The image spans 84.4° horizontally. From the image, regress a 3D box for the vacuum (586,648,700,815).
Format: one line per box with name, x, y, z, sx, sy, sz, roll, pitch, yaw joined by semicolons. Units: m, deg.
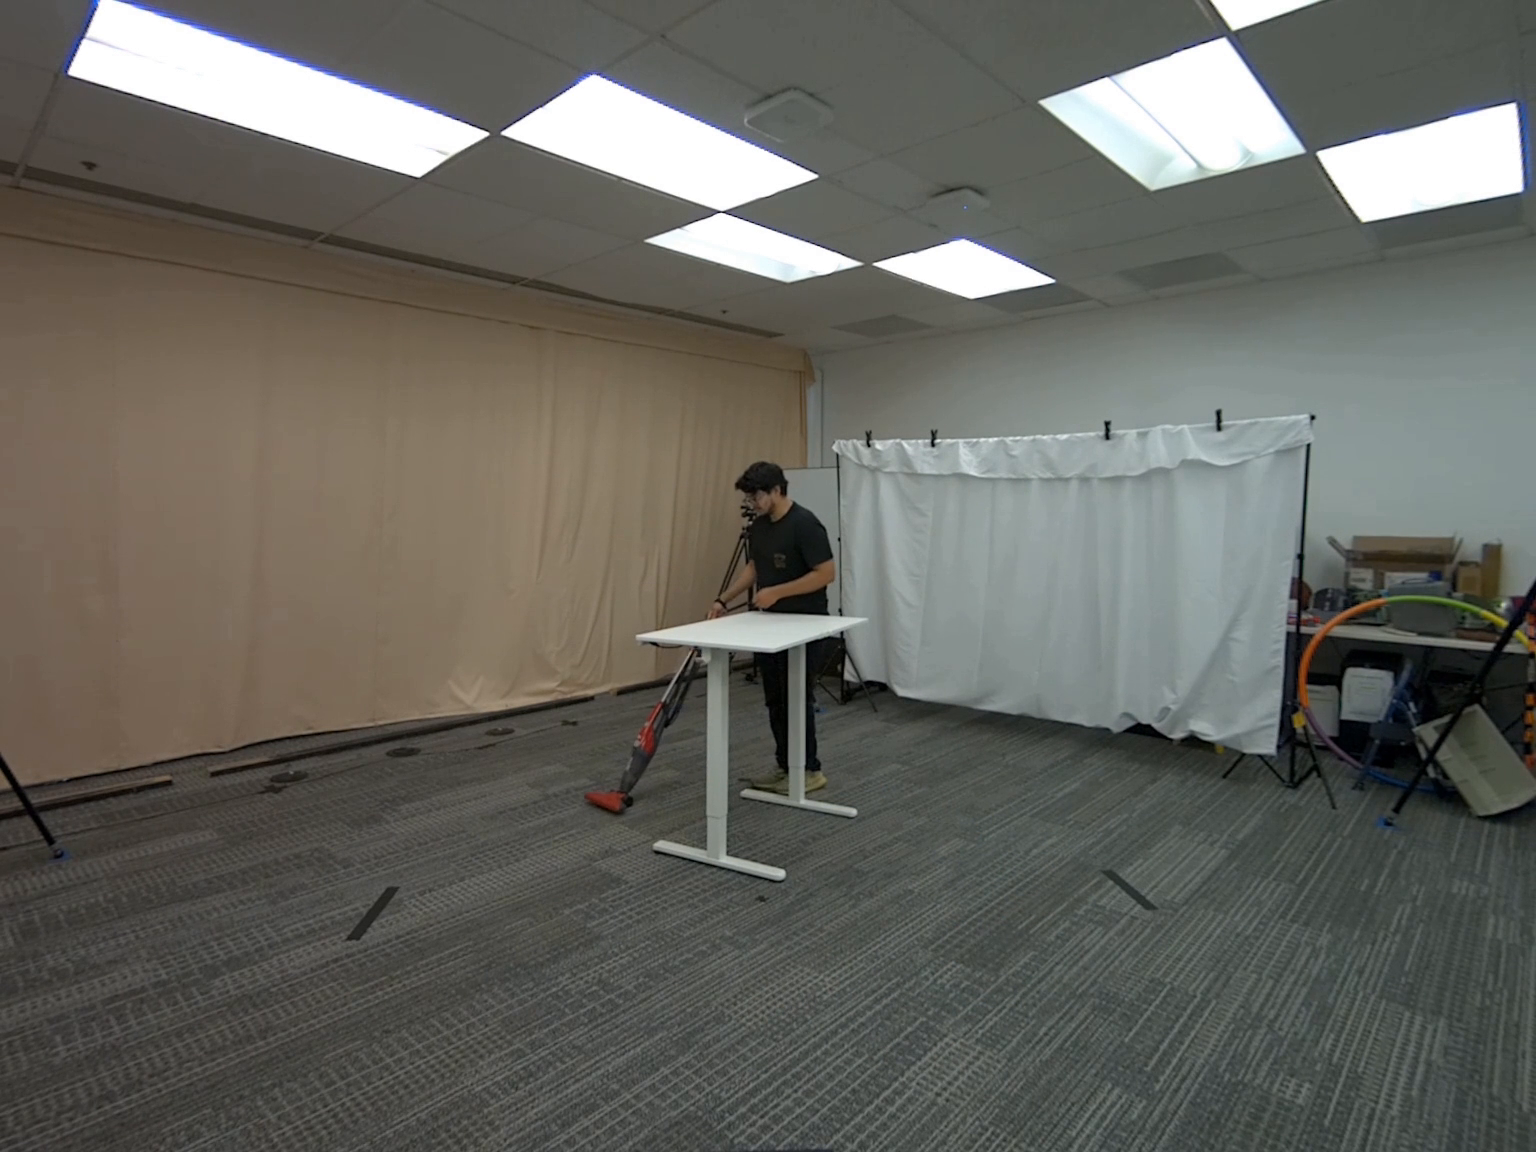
vacuum;-0.501;0.637;4.124;0.261;1.050;0.139;3;-35;43
